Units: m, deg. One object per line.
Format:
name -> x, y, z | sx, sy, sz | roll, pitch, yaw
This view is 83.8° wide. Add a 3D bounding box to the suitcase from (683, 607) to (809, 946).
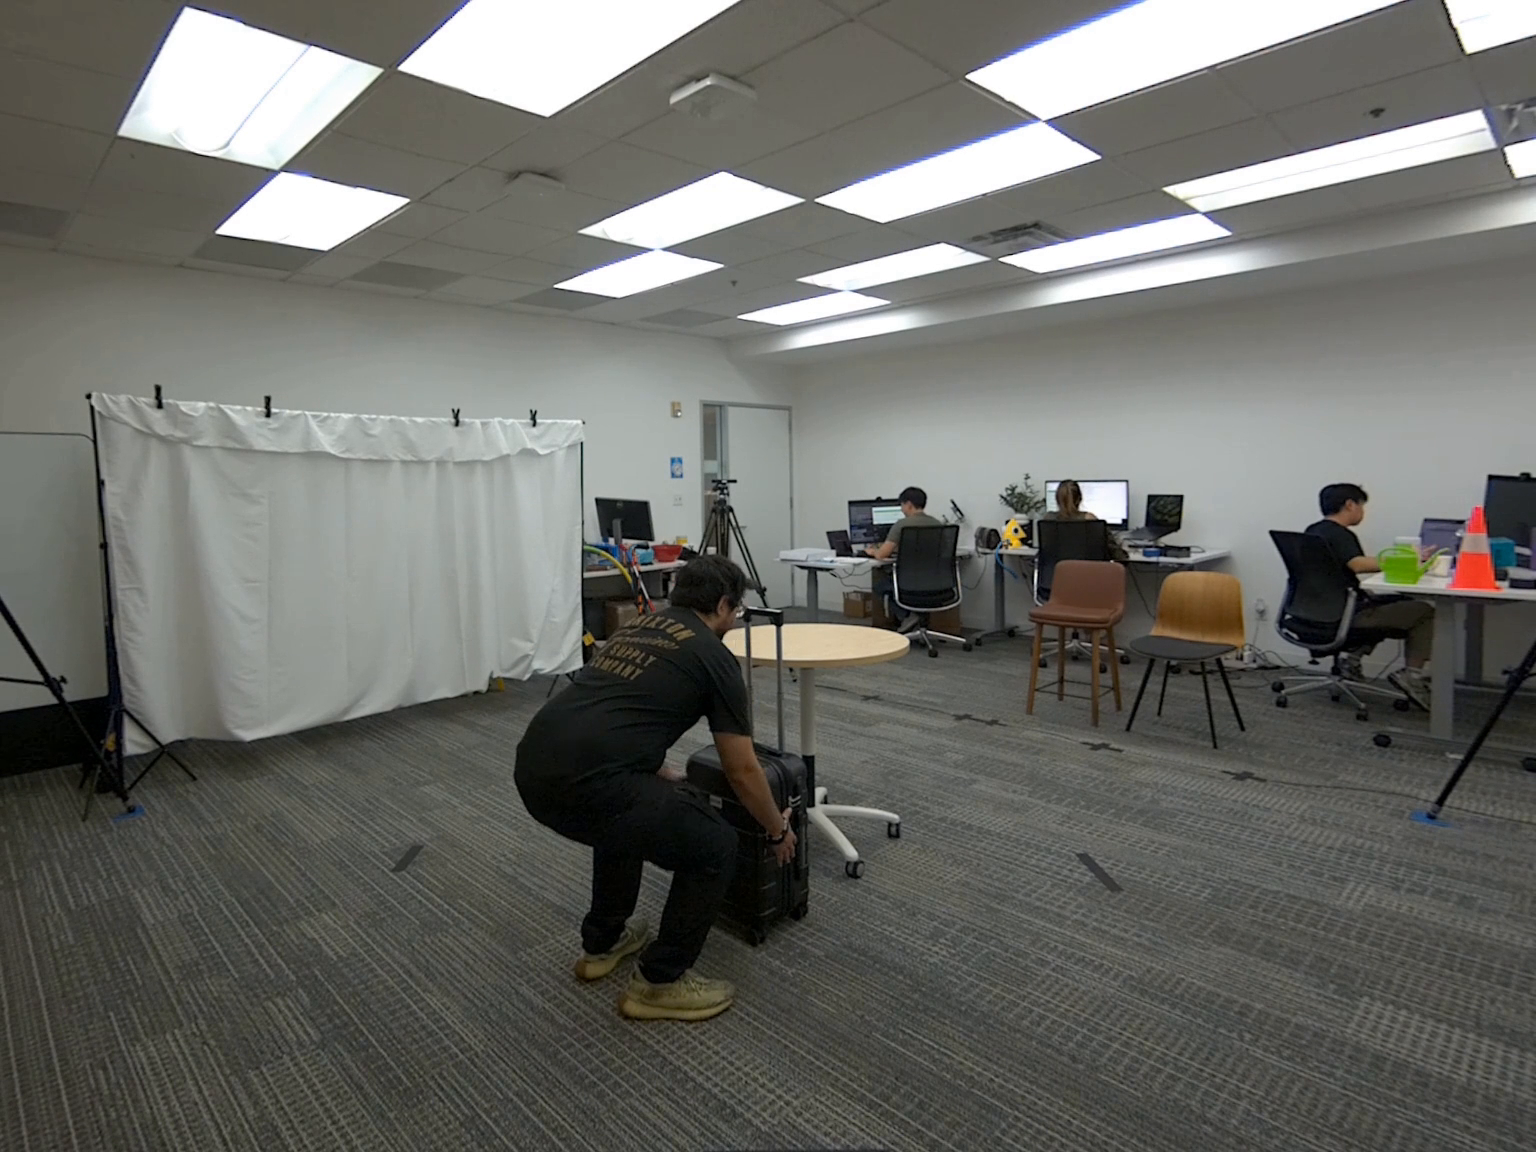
suitcase -> -0.073, 0.615, 2.699 | 0.396, 0.973, 0.251 | 4, 8, 40
